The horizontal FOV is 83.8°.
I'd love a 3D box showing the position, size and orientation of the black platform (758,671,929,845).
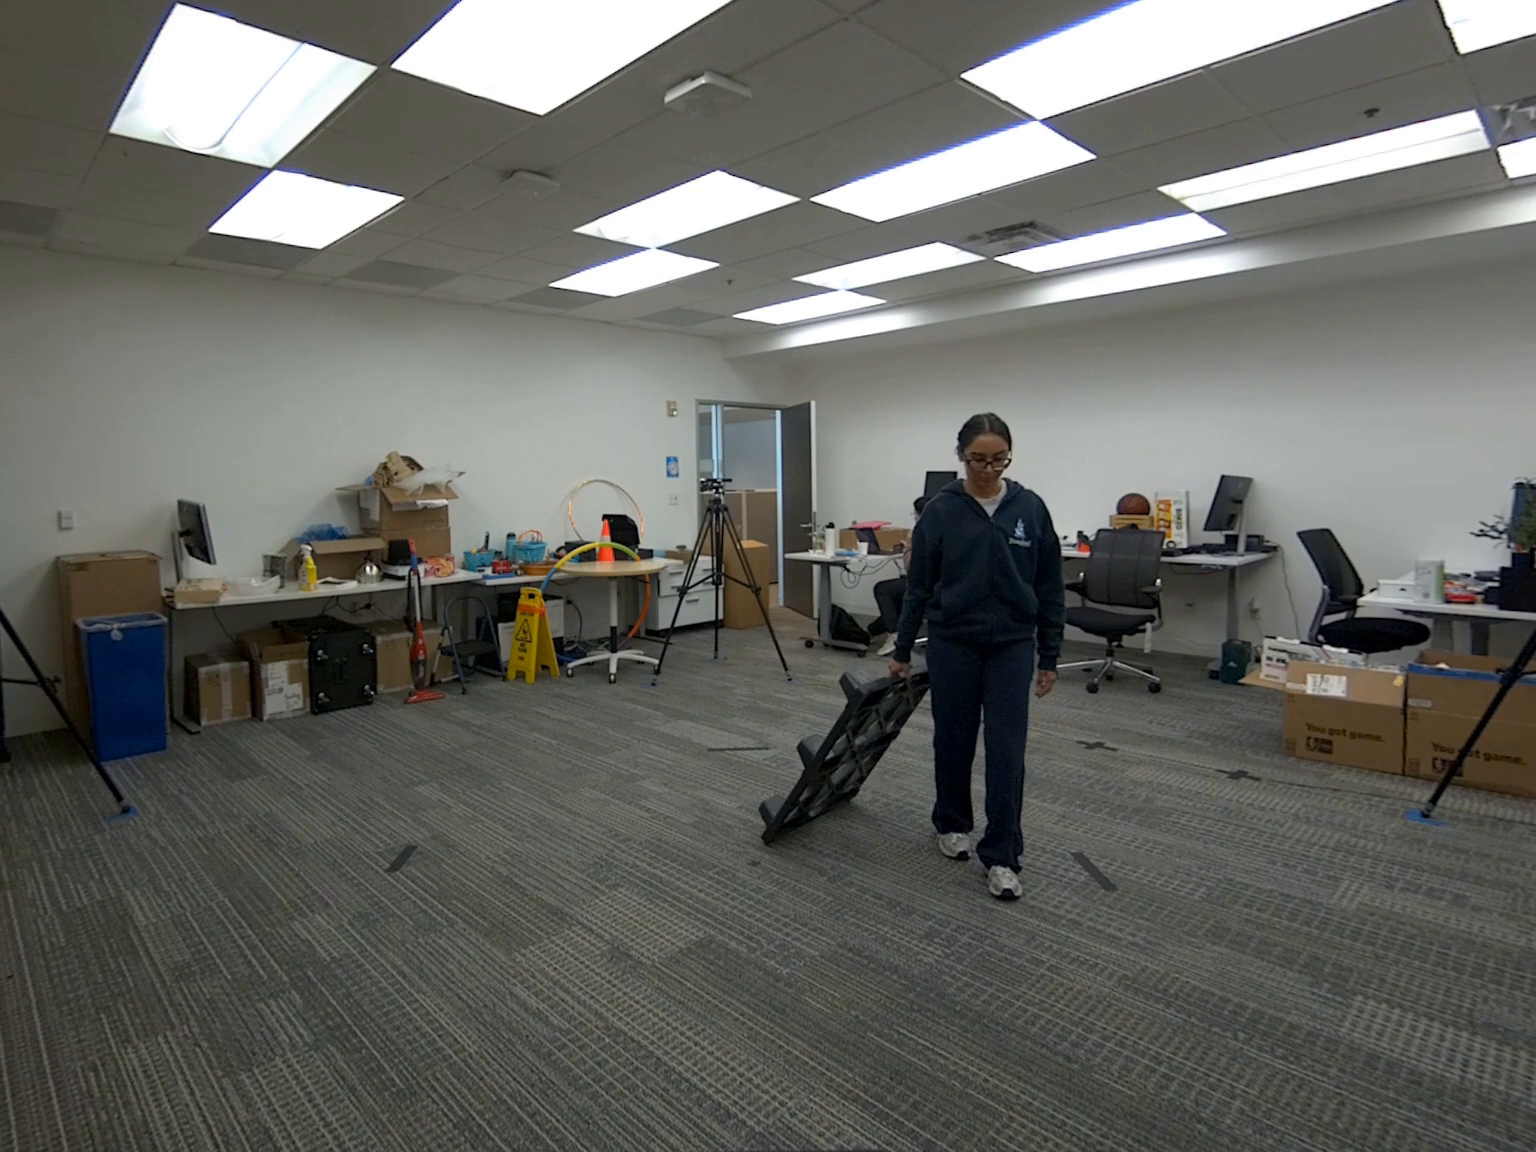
[{"bbox_3d":[0.307,0.649,3.323,0.148,0.799,0.589,43,29,28],"label":"black platform"}]
